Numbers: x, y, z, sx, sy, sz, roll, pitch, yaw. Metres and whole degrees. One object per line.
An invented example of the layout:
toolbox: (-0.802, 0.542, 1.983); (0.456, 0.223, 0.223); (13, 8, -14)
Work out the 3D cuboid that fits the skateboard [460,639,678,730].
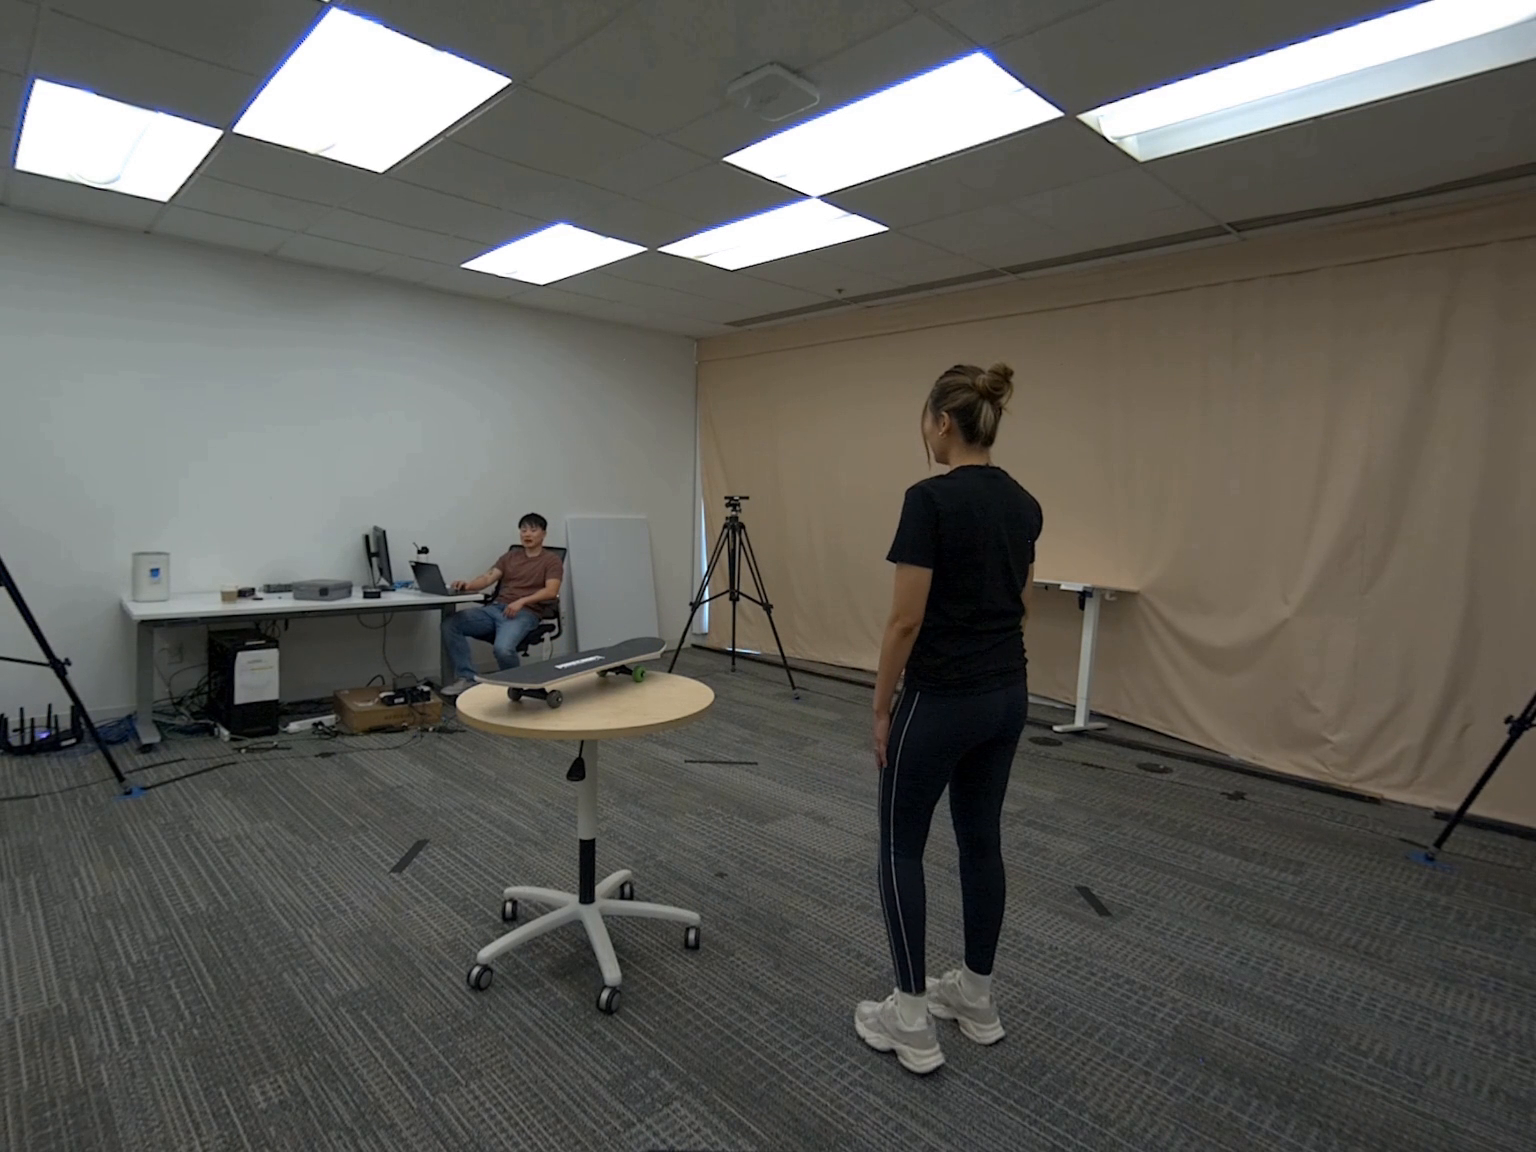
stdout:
skateboard: (-0.572, 0.310, 2.588); (0.197, 0.110, 0.771); (3, 6, 27)
